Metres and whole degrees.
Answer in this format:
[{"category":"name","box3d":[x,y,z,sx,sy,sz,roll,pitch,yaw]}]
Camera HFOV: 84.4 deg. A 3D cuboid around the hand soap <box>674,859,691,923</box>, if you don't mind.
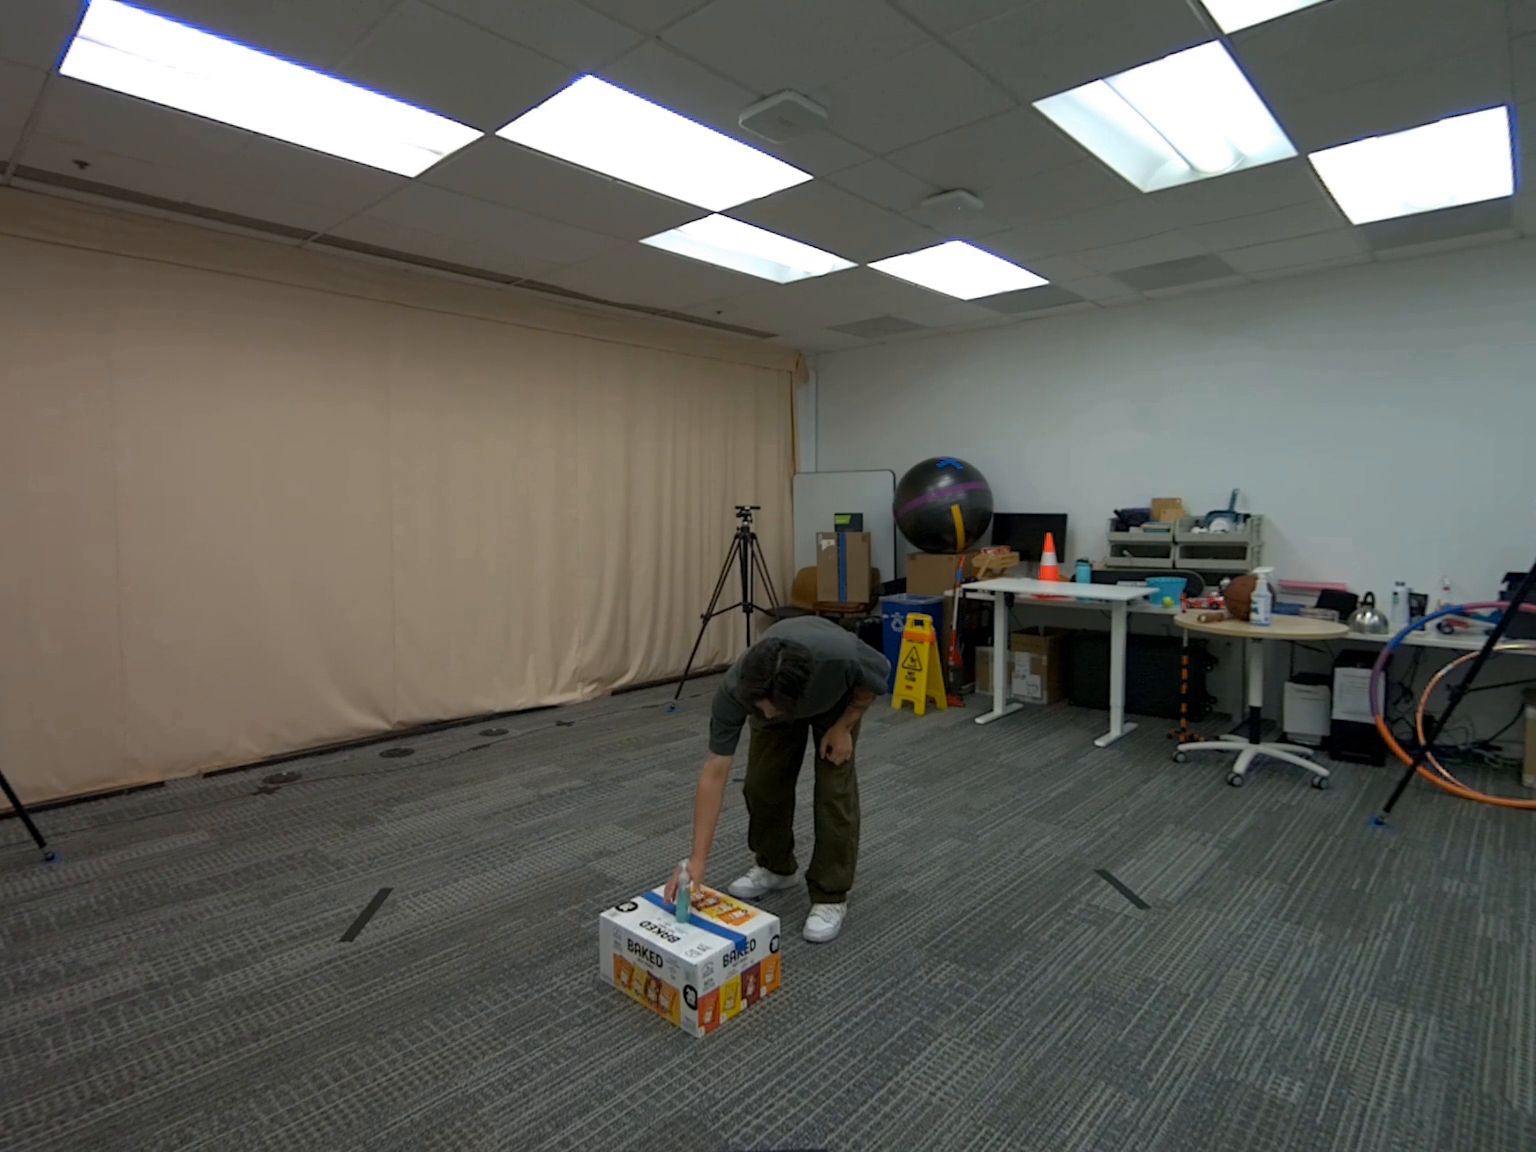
[{"category":"hand soap","box3d":[-0.240,0.912,2.445,0.043,0.168,0.084,-4,-1,3]}]
